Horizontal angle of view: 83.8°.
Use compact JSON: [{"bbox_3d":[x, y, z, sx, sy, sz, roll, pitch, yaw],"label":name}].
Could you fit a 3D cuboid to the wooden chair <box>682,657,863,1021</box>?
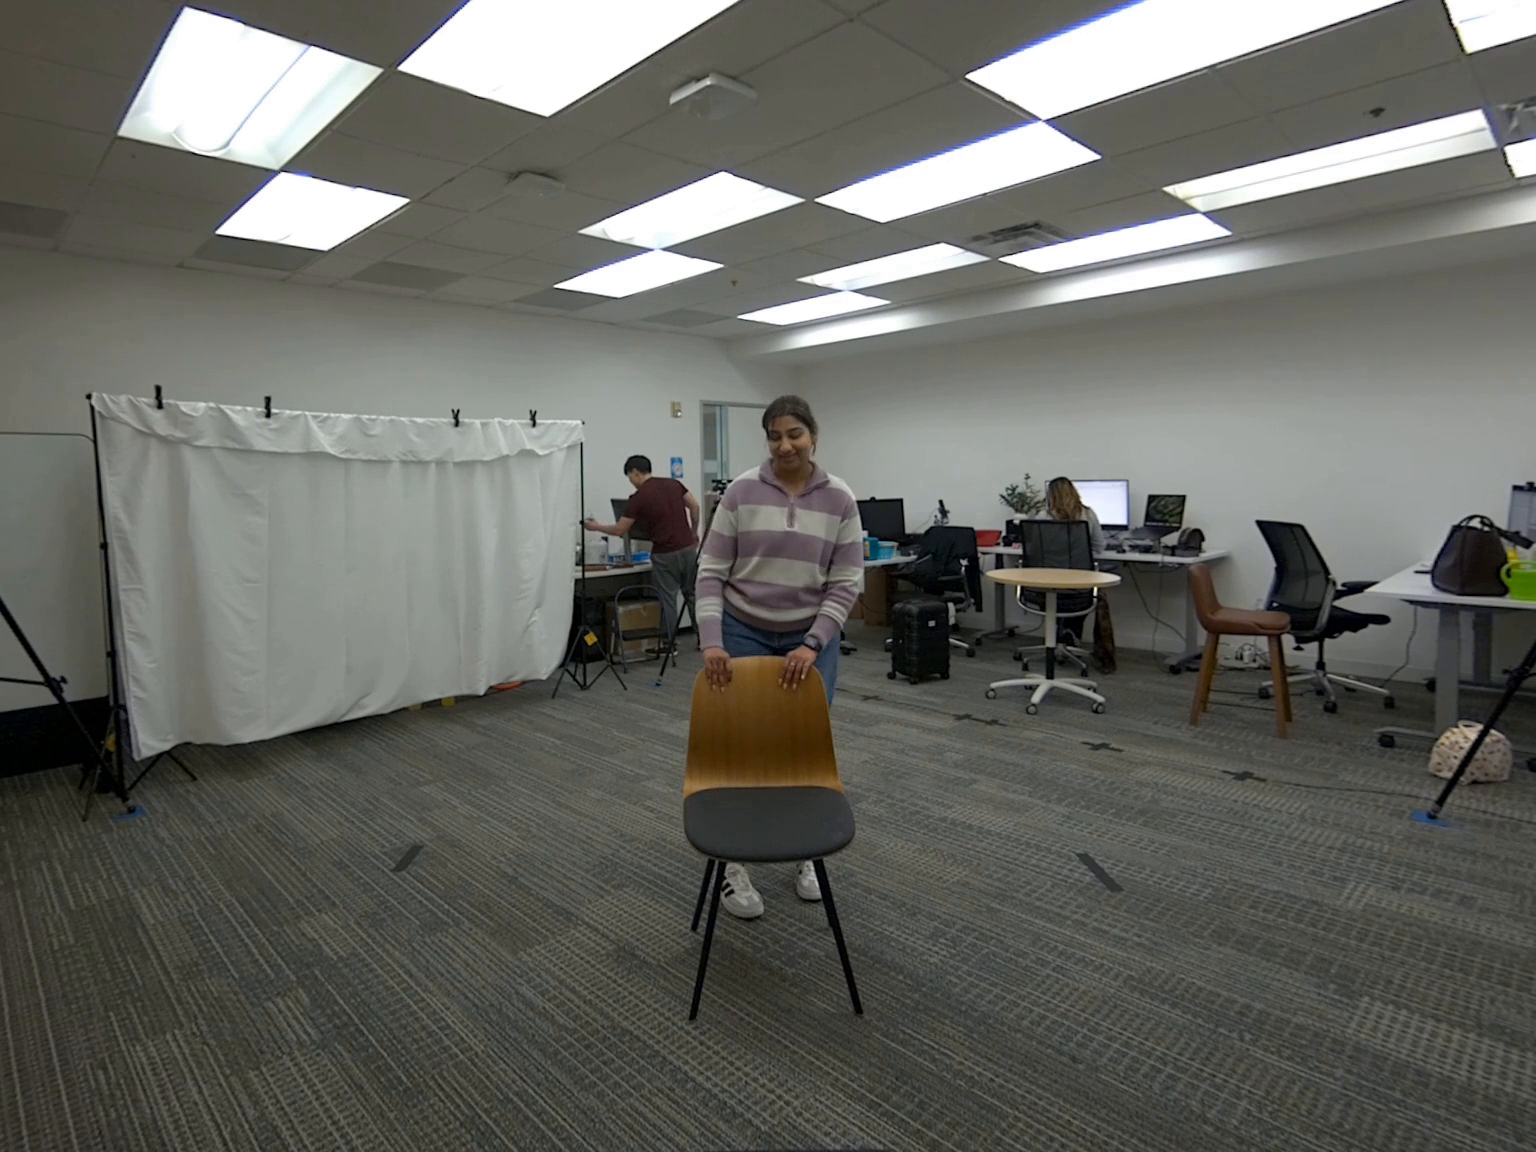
[{"bbox_3d":[-0.004,0.701,2.399,0.477,0.878,0.524,-1,0,-3],"label":"wooden chair"}]
